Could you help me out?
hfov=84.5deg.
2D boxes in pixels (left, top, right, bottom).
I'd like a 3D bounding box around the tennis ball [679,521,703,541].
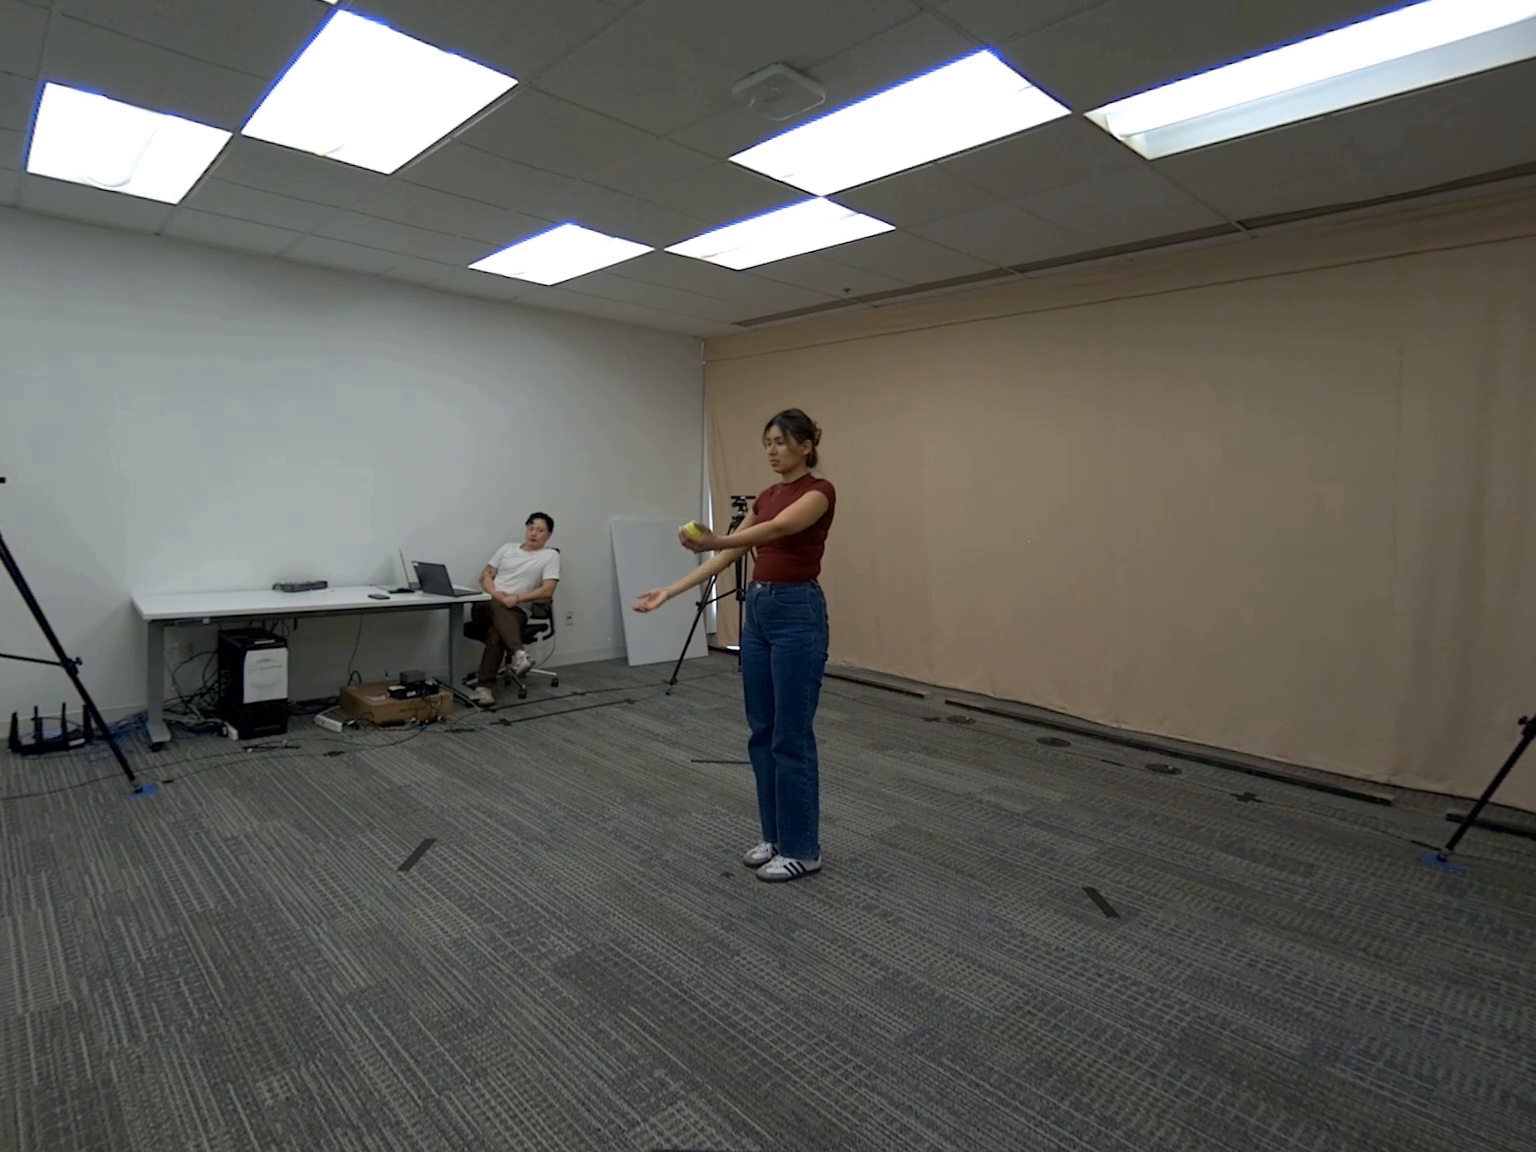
[{"bbox_3d":[-0.233,-0.113,2.697,0.066,0.066,0.067,1,4,-1],"label":"tennis ball"}]
